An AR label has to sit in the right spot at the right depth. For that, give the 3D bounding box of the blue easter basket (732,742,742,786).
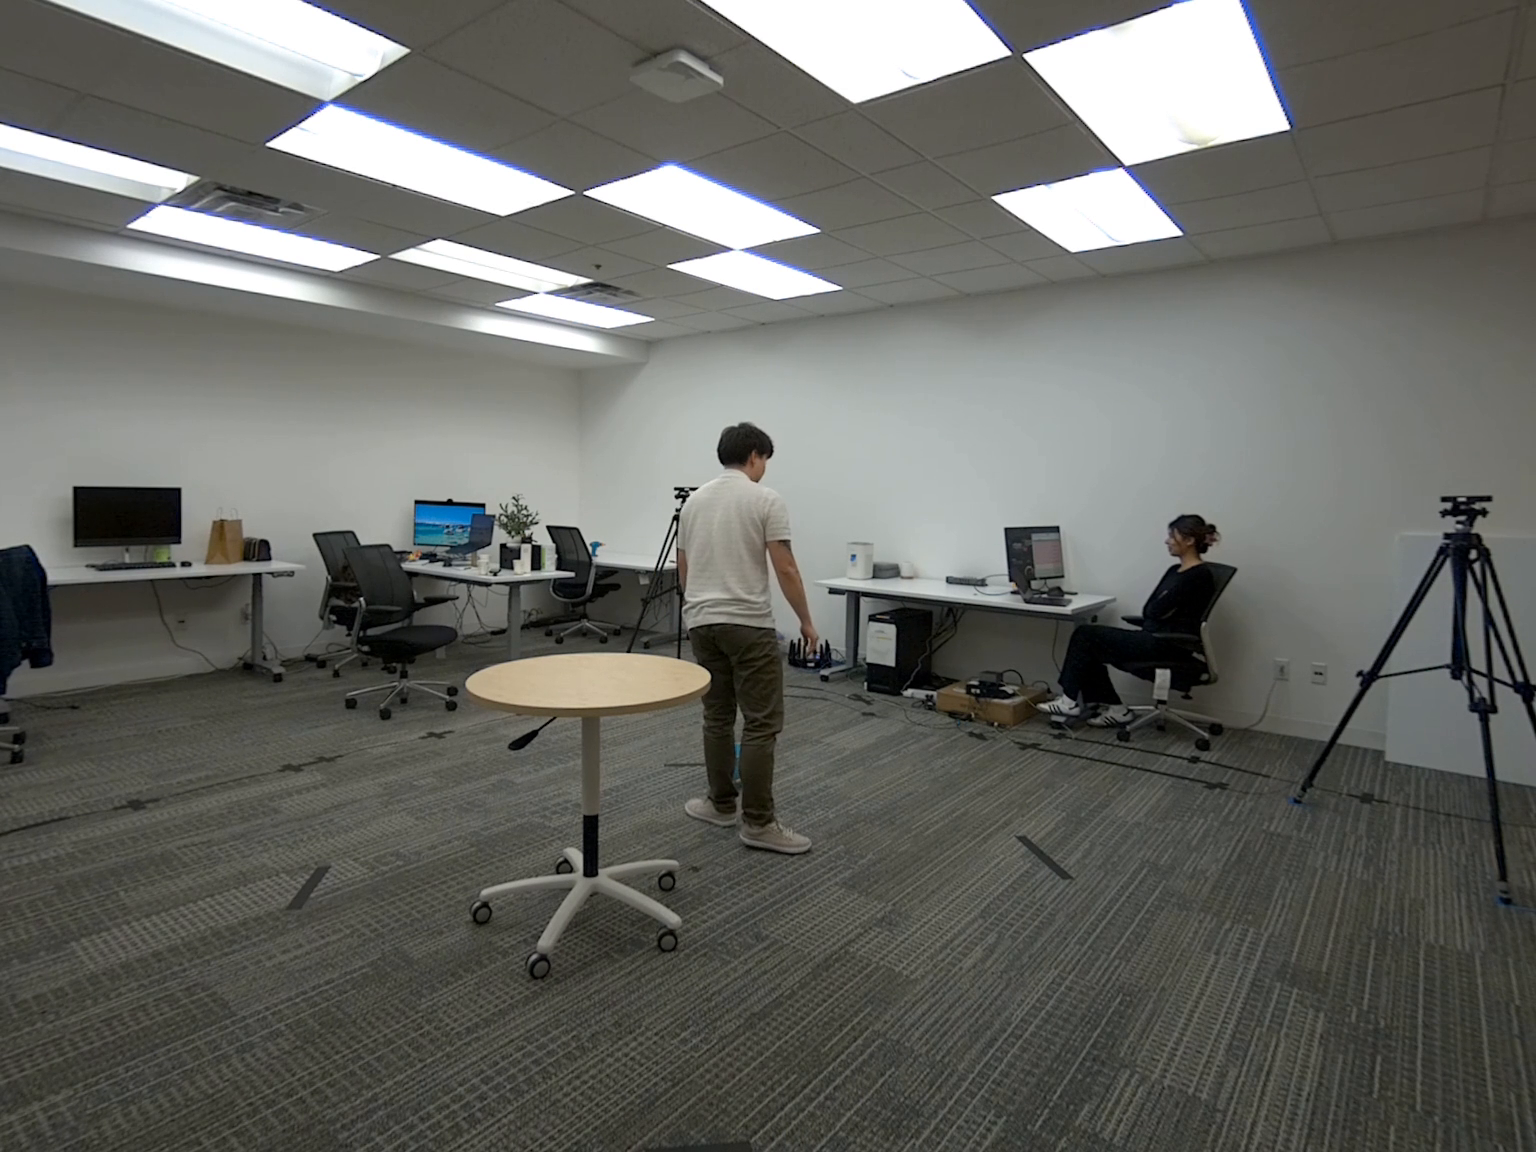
[{"bbox_3d":[-0.194,0.893,4.043,0.243,0.155,0.245,1,5,-2],"label":"blue easter basket"}]
